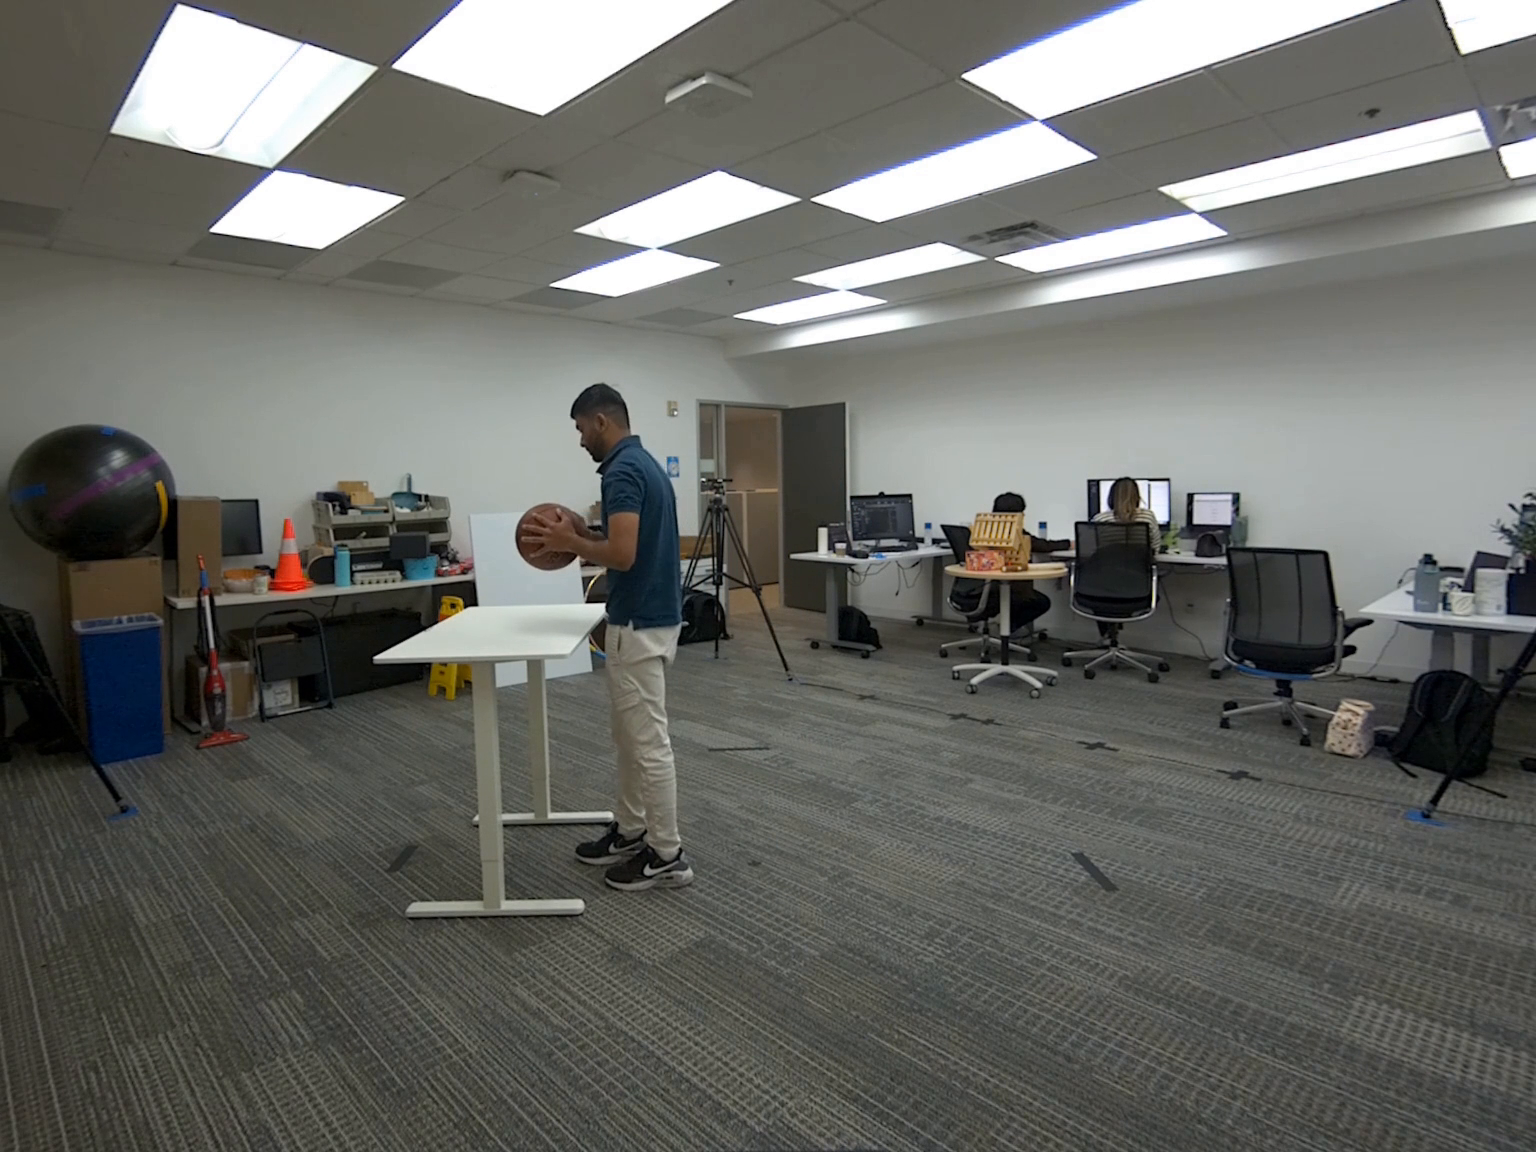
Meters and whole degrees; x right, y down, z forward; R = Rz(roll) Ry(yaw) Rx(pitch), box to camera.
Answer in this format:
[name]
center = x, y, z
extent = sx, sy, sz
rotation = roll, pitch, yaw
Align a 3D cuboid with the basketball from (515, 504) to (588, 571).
[basketball]
center = -0.773, -0.137, 3.024
extent = 0.236, 0.235, 0.237
rotation = -1, 5, -2
